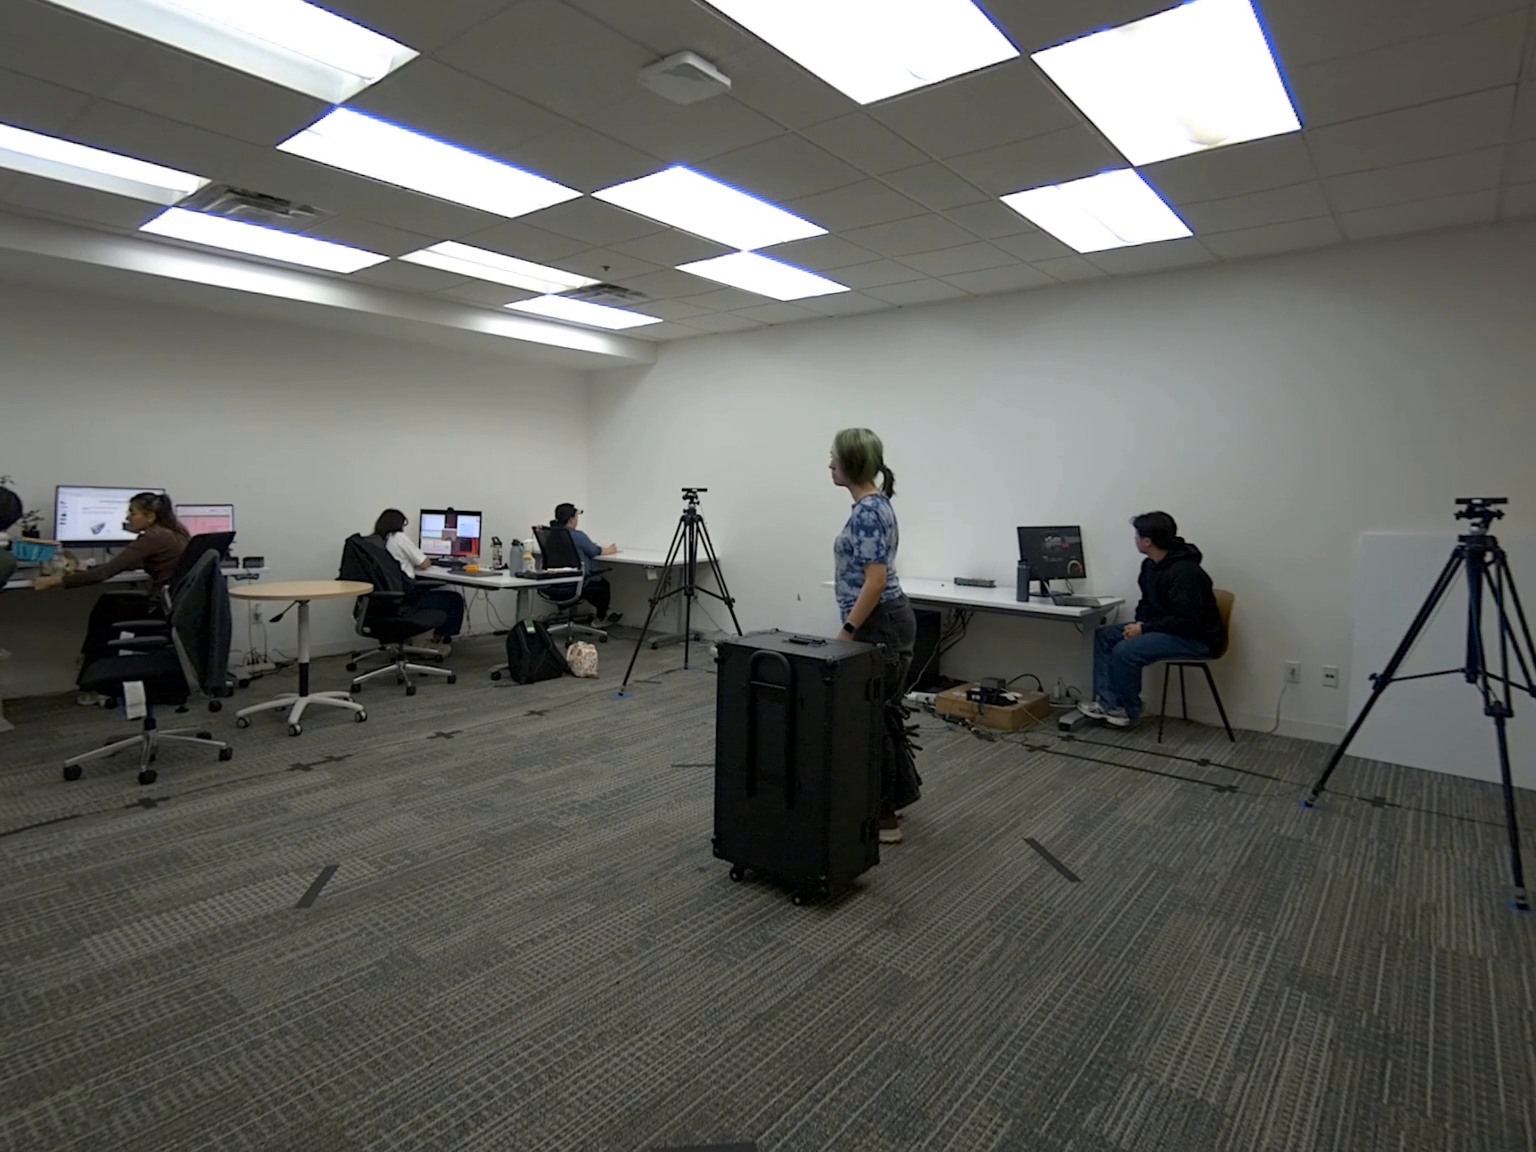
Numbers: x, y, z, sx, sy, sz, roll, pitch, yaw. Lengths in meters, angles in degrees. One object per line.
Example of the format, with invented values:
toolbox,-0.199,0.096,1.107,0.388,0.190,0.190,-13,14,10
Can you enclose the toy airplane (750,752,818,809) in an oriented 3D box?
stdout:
toy airplane,0.066,0.919,3.808,0.248,0.156,0.263,0,5,-10
